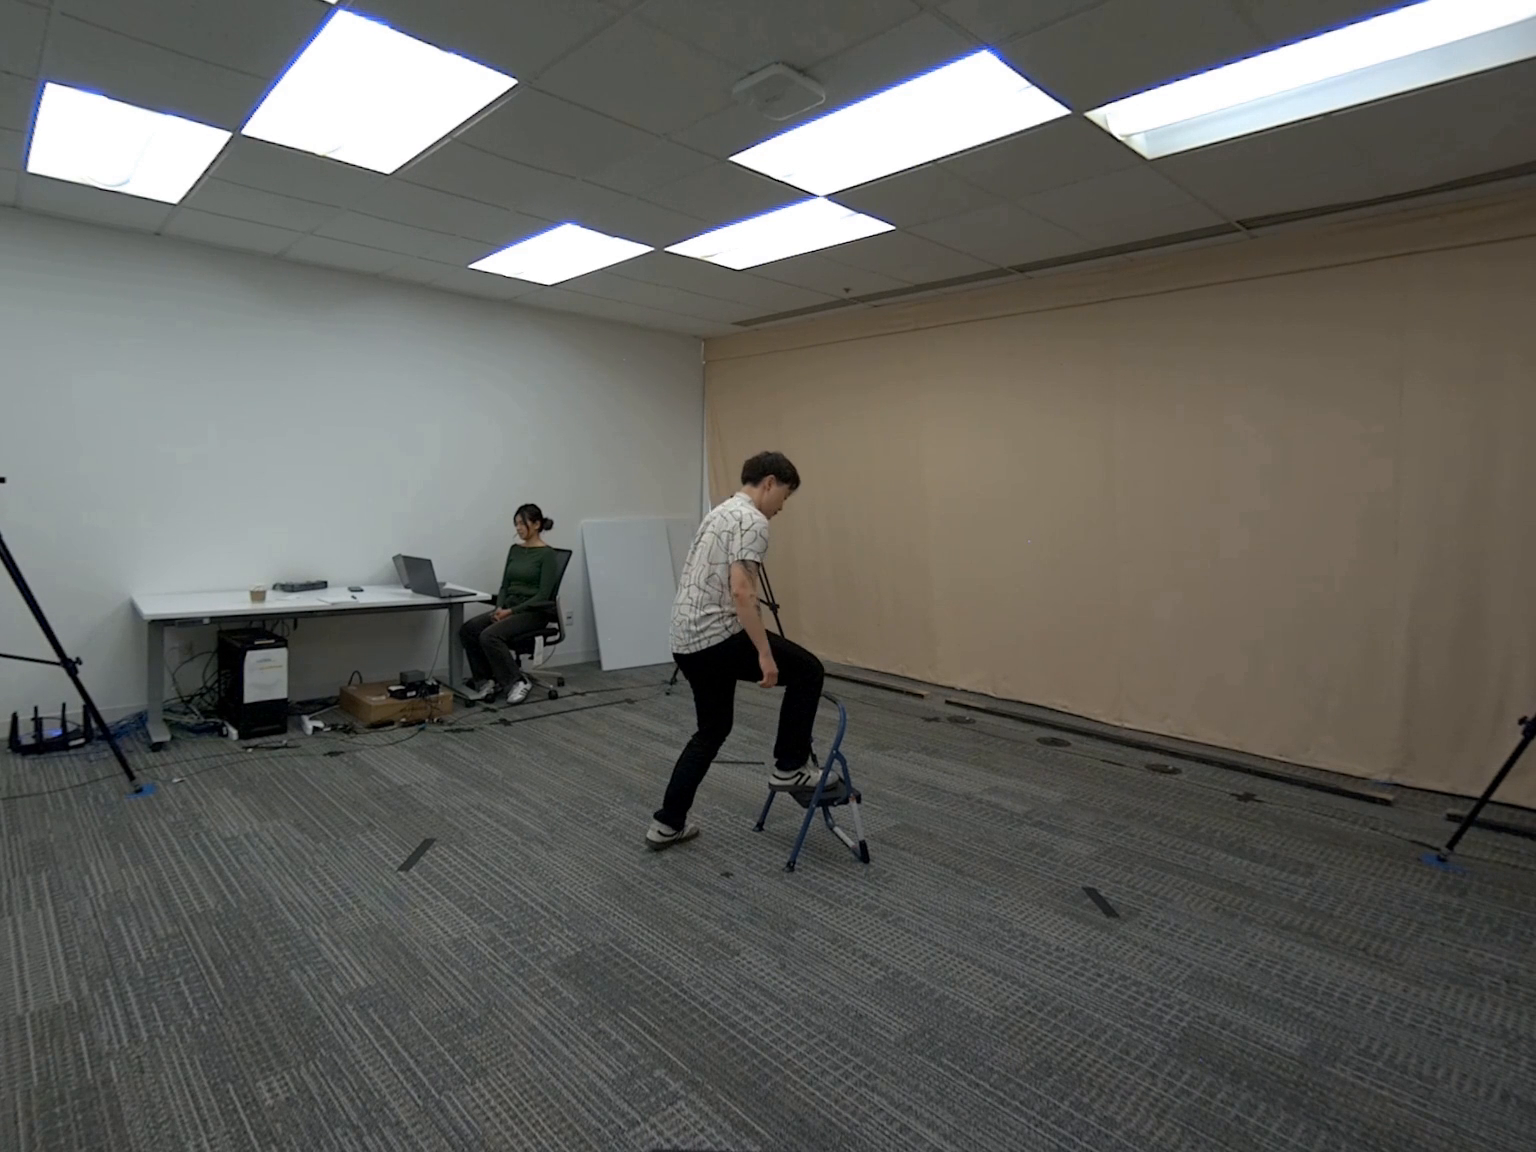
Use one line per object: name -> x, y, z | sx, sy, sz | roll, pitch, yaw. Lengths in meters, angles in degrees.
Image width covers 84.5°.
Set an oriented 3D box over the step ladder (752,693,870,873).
step ladder -> 0.168, 0.784, 3.365 | 0.345, 0.605, 0.437 | 1, 4, -17
